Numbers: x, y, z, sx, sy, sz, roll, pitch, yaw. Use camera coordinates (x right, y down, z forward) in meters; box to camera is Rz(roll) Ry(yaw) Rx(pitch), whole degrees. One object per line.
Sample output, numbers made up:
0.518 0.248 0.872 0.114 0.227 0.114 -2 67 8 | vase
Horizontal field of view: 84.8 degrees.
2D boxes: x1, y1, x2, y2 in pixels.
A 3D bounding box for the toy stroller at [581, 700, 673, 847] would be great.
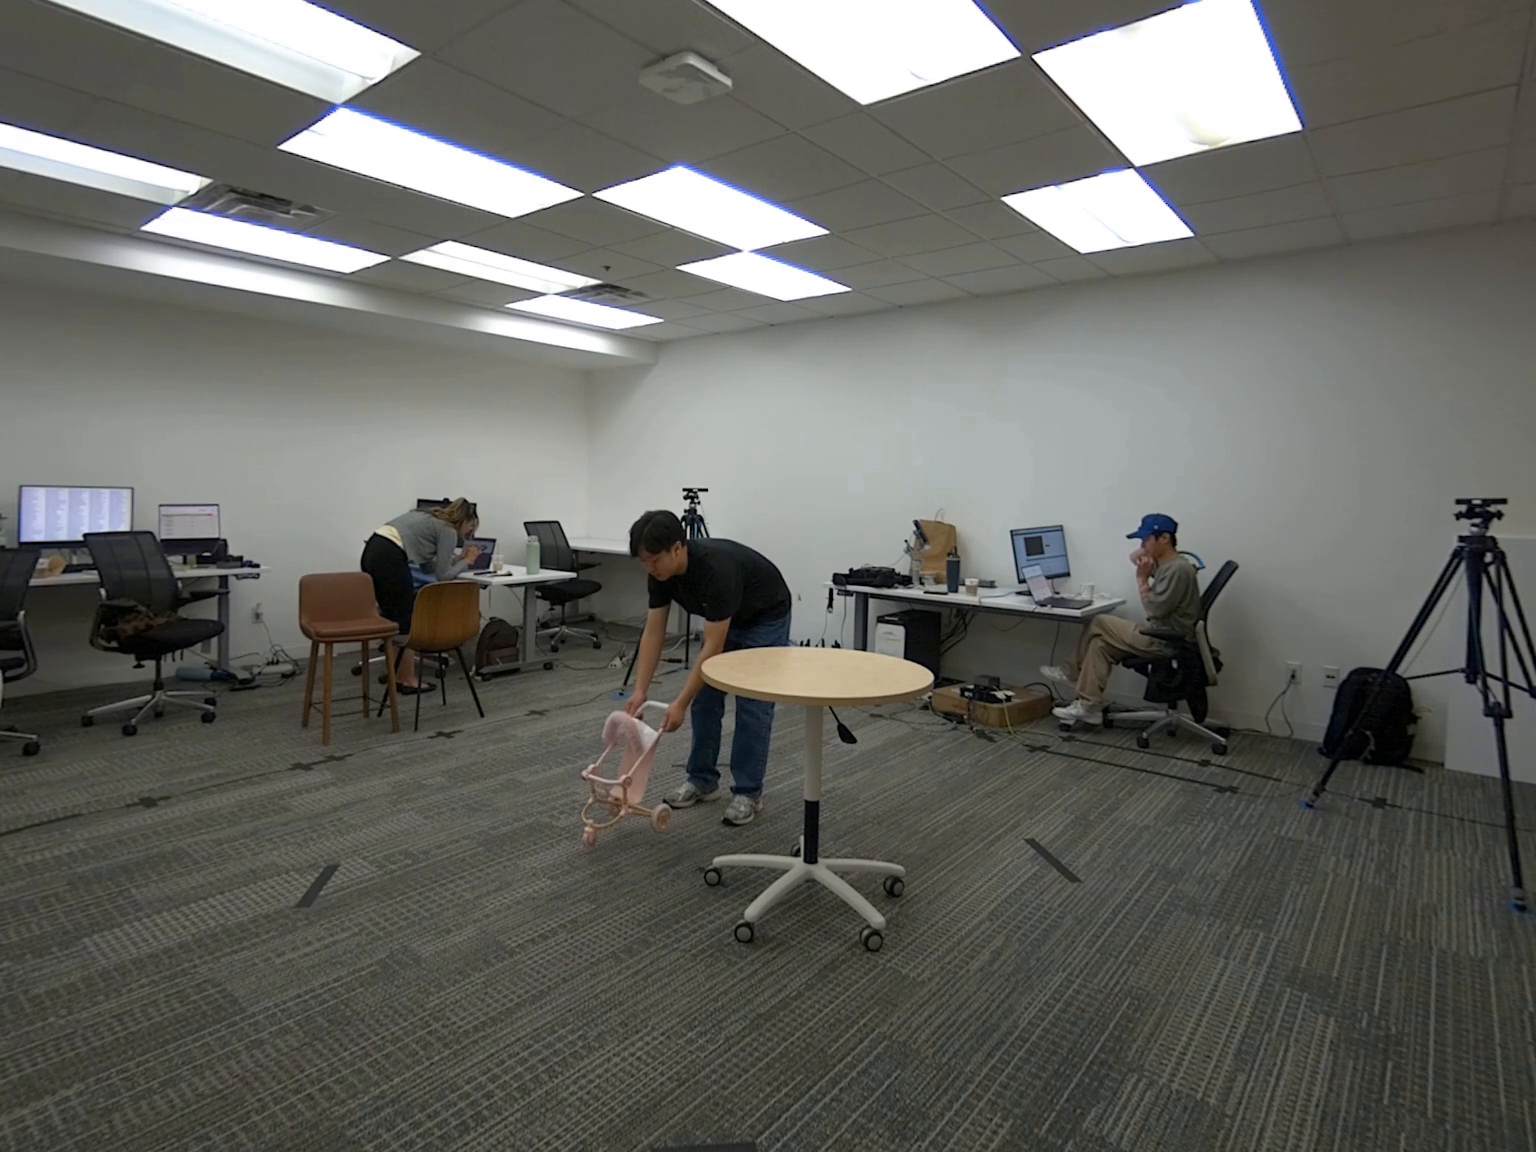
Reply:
-0.574 0.759 3.309 0.291 0.536 0.329 4 -4 45 | toy stroller
